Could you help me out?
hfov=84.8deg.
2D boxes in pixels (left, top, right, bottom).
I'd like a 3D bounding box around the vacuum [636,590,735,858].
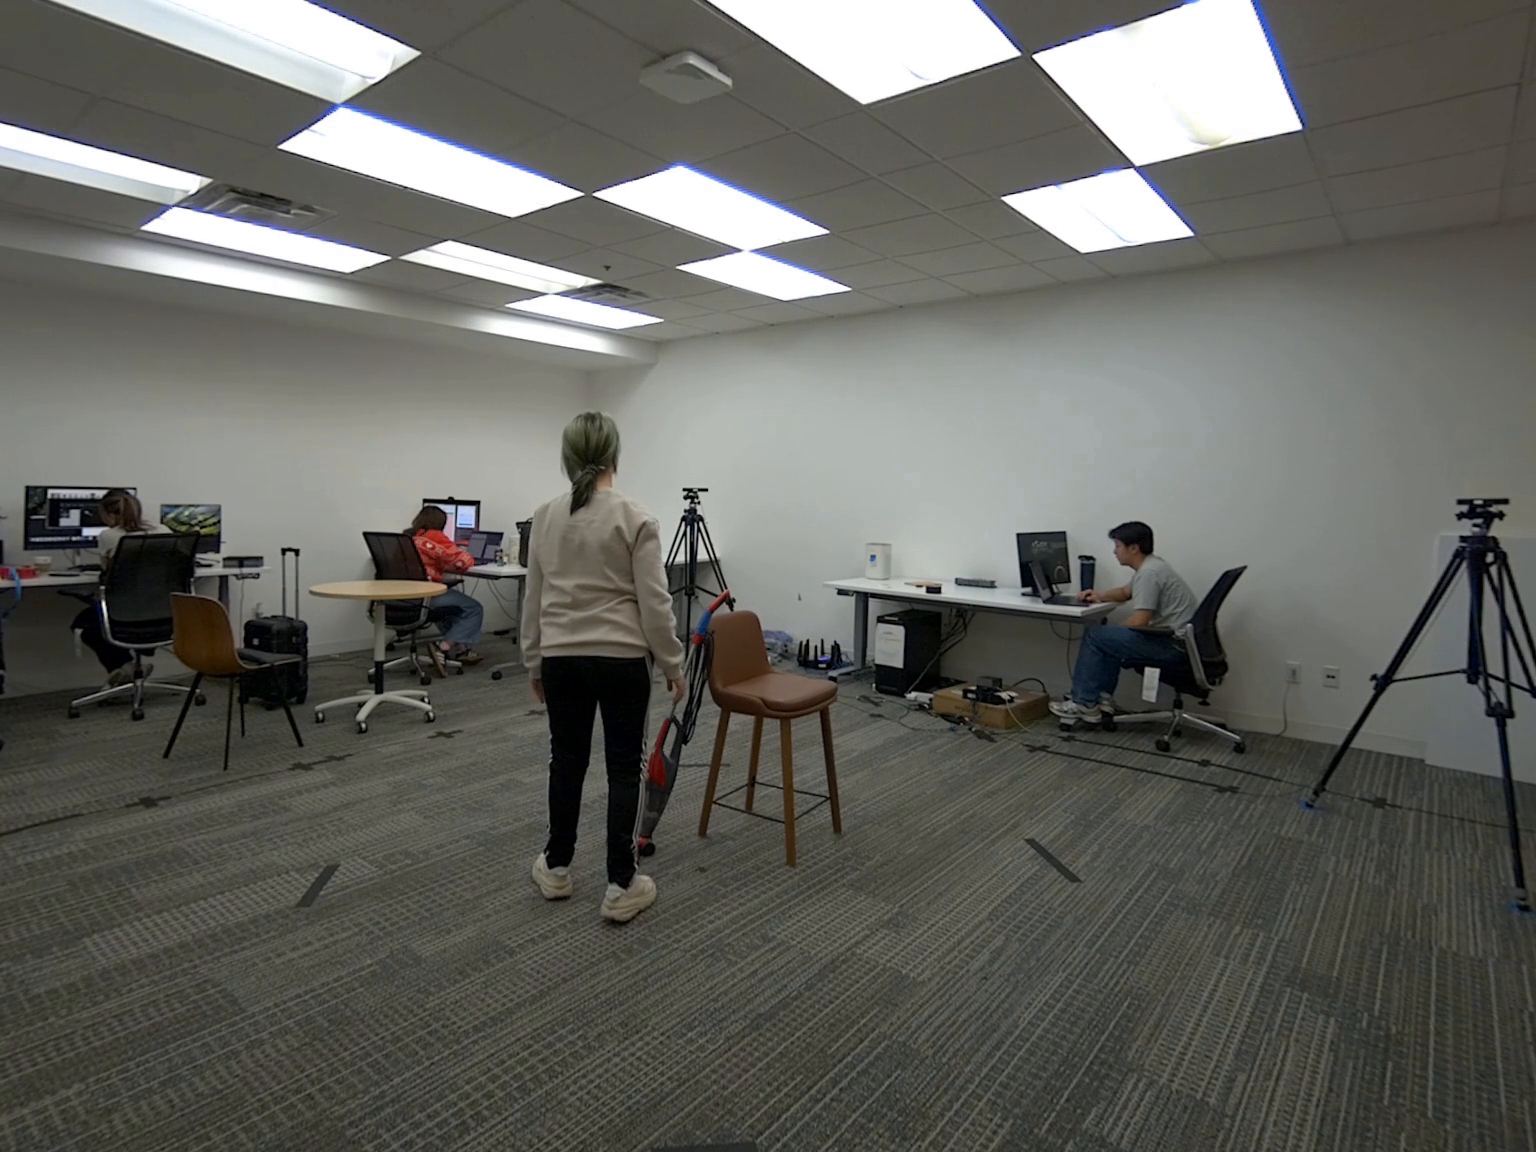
[{"bbox_3d":[-0.359,0.554,3.294,0.140,1.052,0.259,21,-5,-25],"label":"vacuum"}]
